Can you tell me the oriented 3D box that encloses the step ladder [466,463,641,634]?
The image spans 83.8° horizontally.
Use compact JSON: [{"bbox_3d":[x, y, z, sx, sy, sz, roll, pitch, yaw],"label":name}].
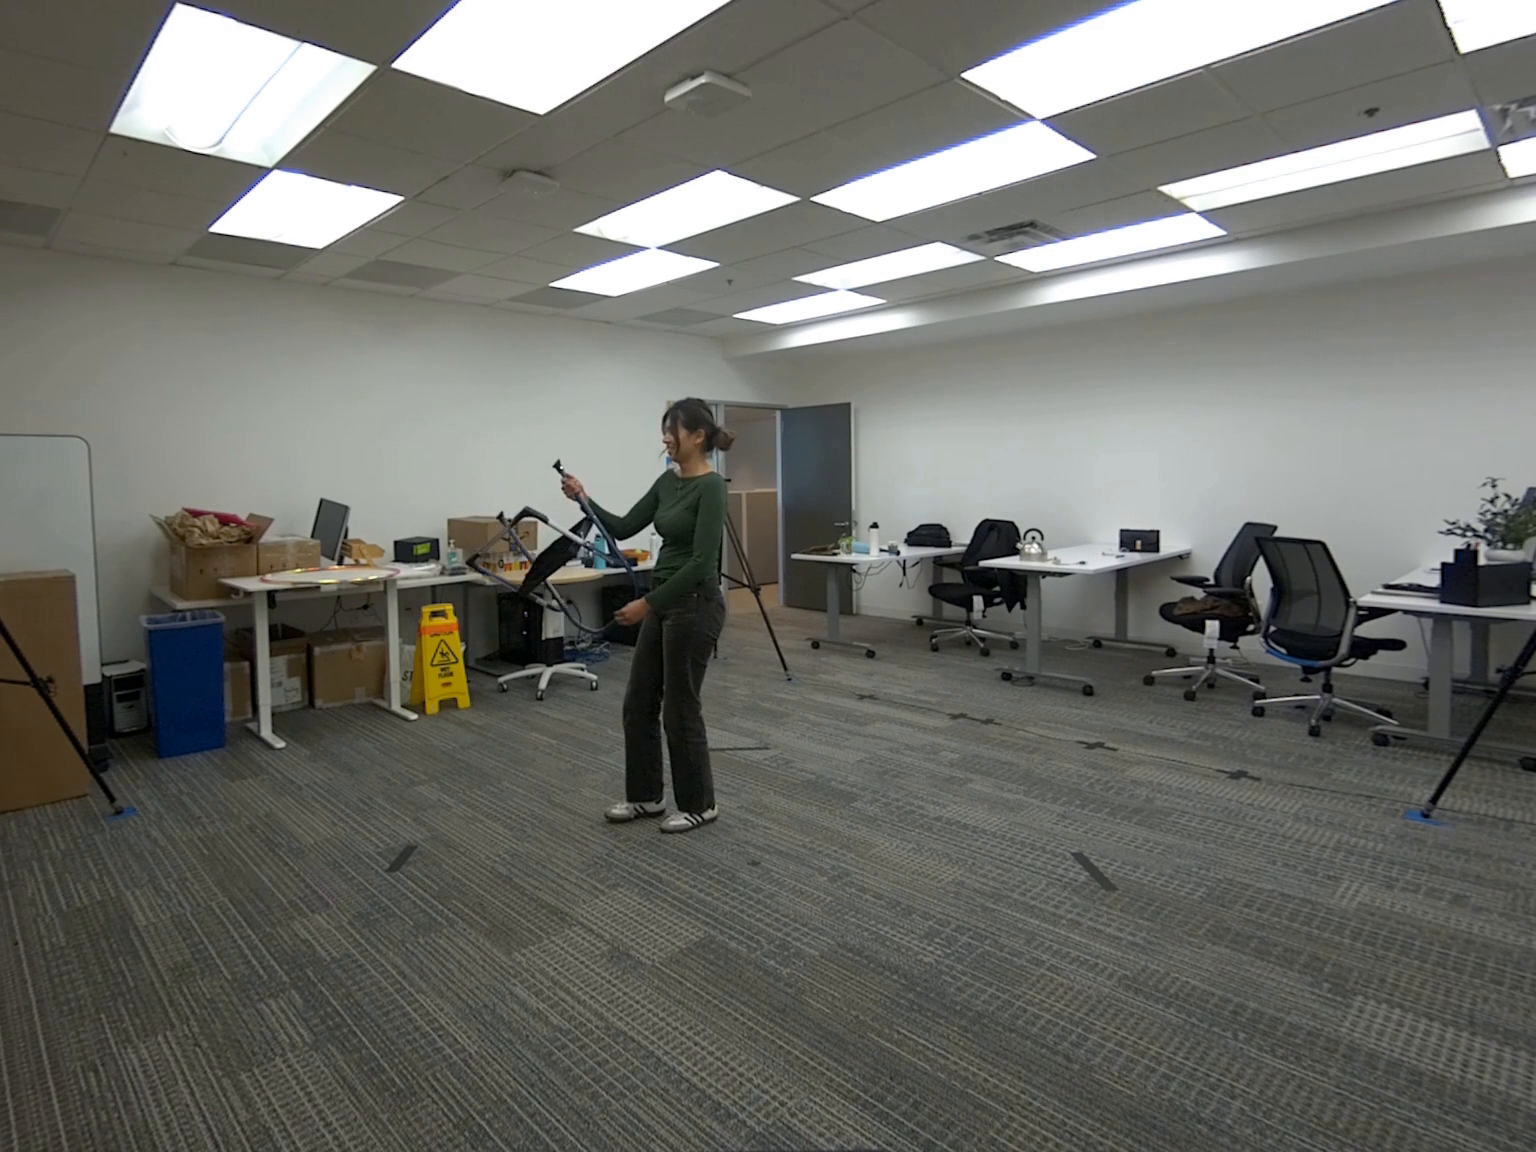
[{"bbox_3d":[-0.781,-0.054,3.370,0.434,0.592,0.355,-34,23,32],"label":"step ladder"}]
